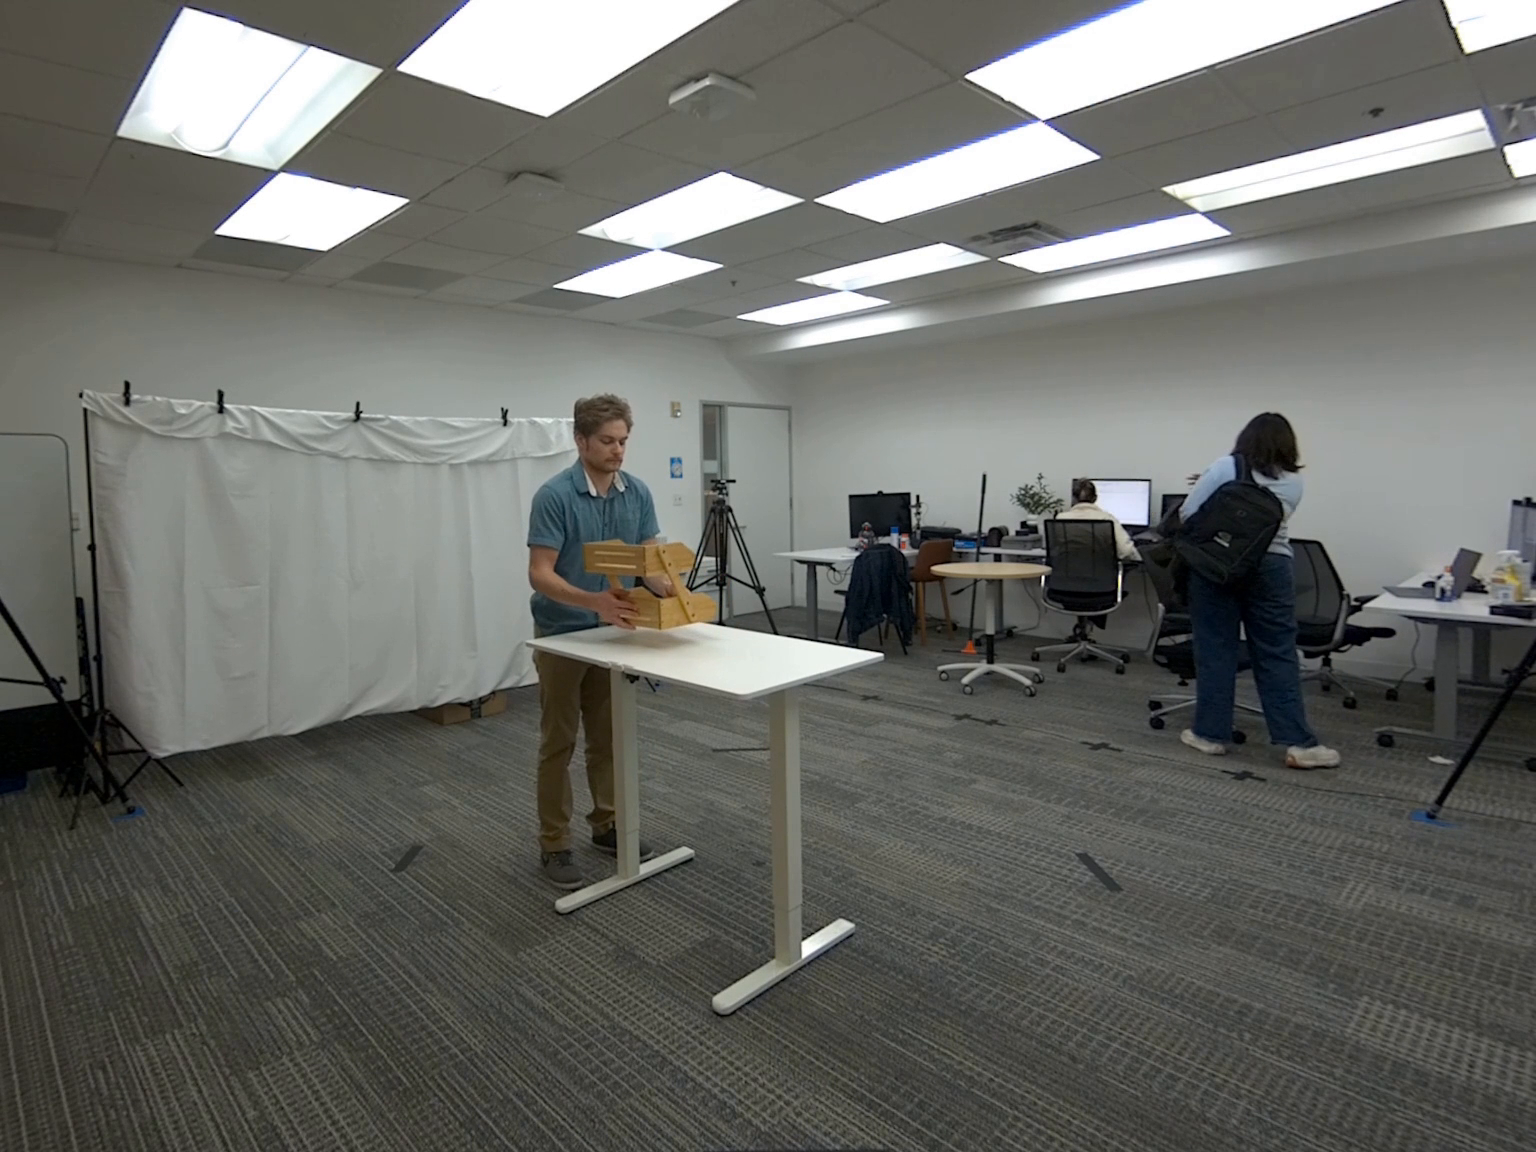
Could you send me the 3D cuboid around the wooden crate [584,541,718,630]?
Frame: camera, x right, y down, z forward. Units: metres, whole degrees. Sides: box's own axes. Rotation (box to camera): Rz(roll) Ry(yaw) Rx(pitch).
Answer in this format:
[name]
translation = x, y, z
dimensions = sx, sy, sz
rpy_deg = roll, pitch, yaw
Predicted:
[wooden crate]
translation = -0.376, 0.014, 2.740
dimensions = 0.334, 0.272, 0.294
rpy_deg = 3, 8, 41
